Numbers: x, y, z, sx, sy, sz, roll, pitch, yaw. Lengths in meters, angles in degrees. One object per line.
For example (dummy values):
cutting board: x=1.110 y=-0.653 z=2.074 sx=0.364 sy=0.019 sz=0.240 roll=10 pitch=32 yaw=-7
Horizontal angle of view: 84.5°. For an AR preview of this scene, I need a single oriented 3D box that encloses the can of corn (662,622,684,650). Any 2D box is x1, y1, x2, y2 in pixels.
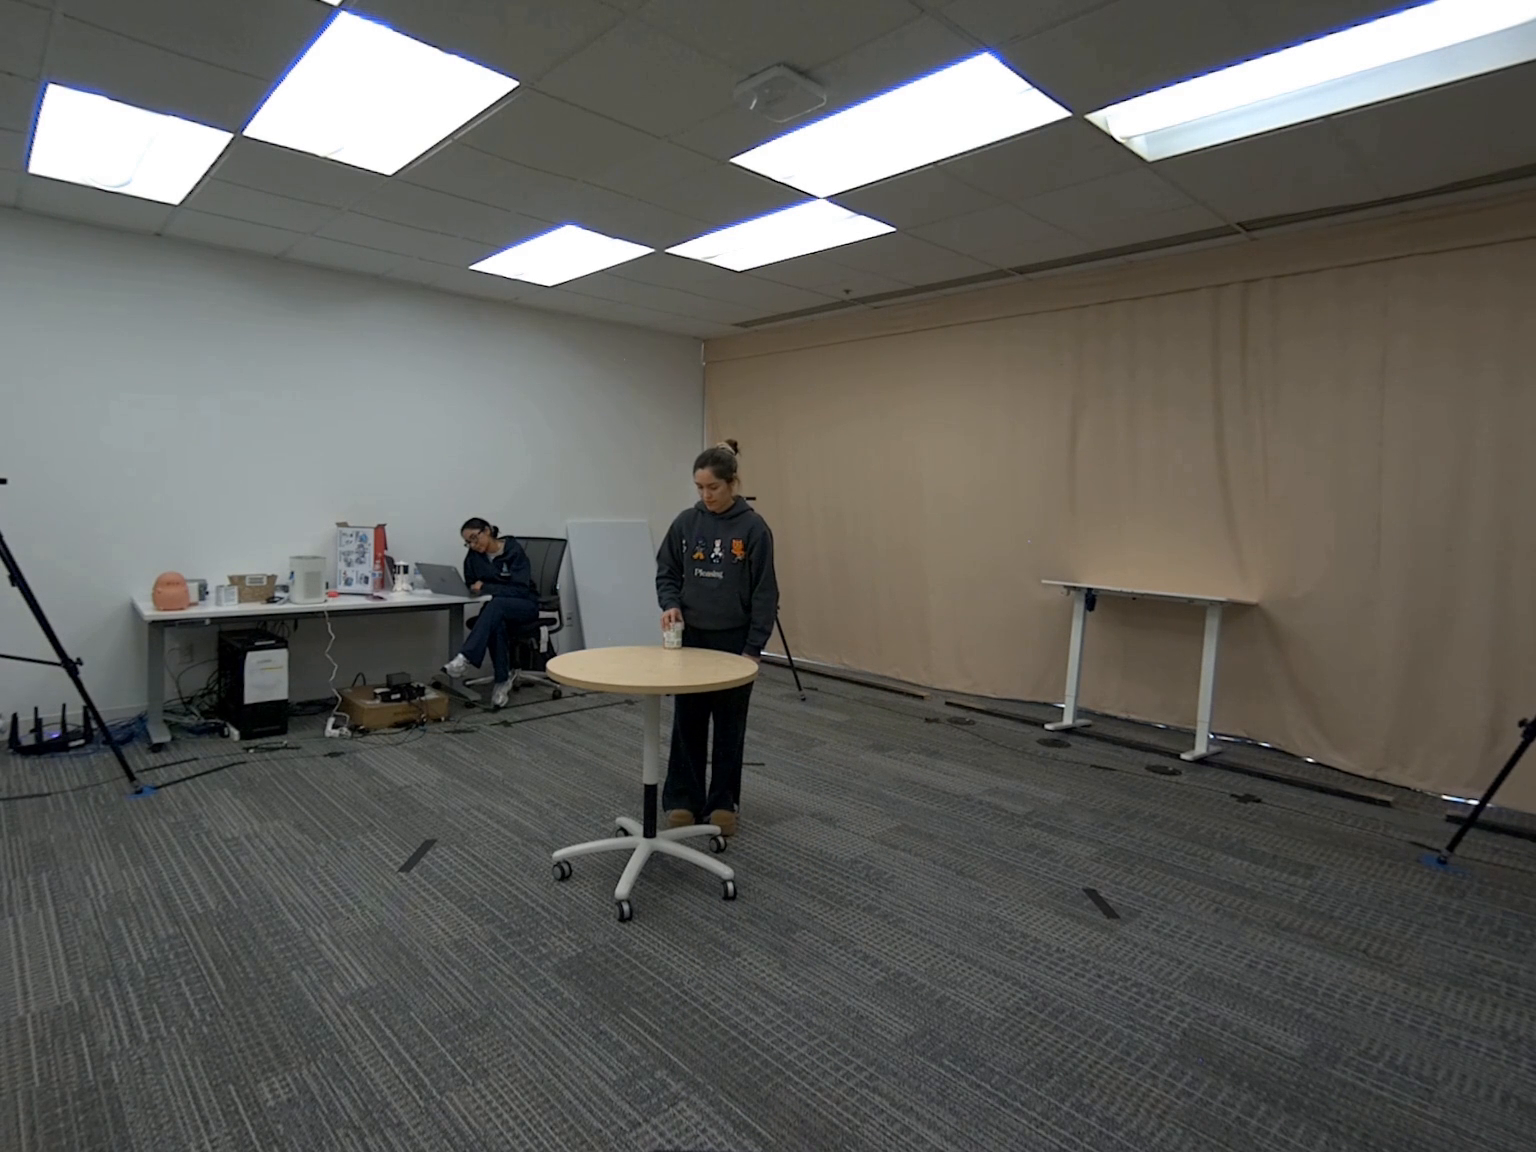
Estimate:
can of corn: x=-0.406 y=0.235 z=3.414 sx=0.074 sy=0.111 sz=0.074 roll=4 pitch=2 yaw=-2
